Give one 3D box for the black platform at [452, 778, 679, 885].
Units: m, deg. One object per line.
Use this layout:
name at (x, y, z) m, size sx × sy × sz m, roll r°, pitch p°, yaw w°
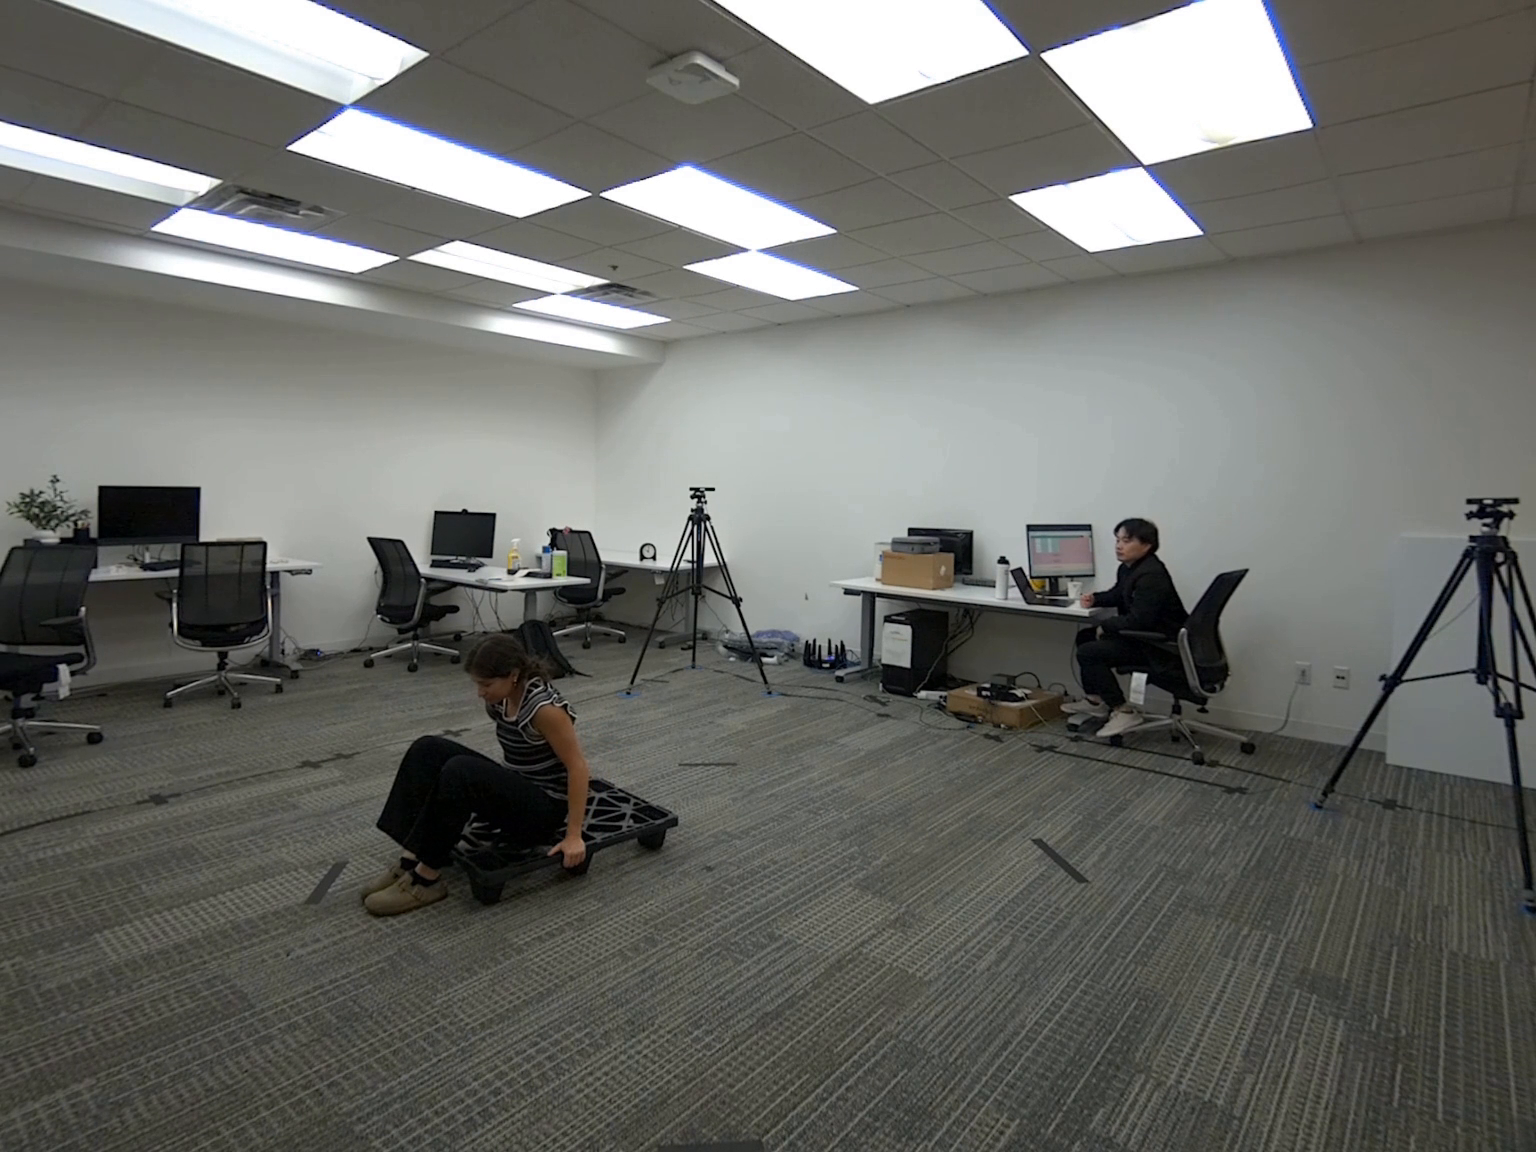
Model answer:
black platform at (-0.841, 0.977, 3.215) m, size 0.782 × 0.143 × 0.626 m, roll -5°, pitch 7°, yaw -42°
